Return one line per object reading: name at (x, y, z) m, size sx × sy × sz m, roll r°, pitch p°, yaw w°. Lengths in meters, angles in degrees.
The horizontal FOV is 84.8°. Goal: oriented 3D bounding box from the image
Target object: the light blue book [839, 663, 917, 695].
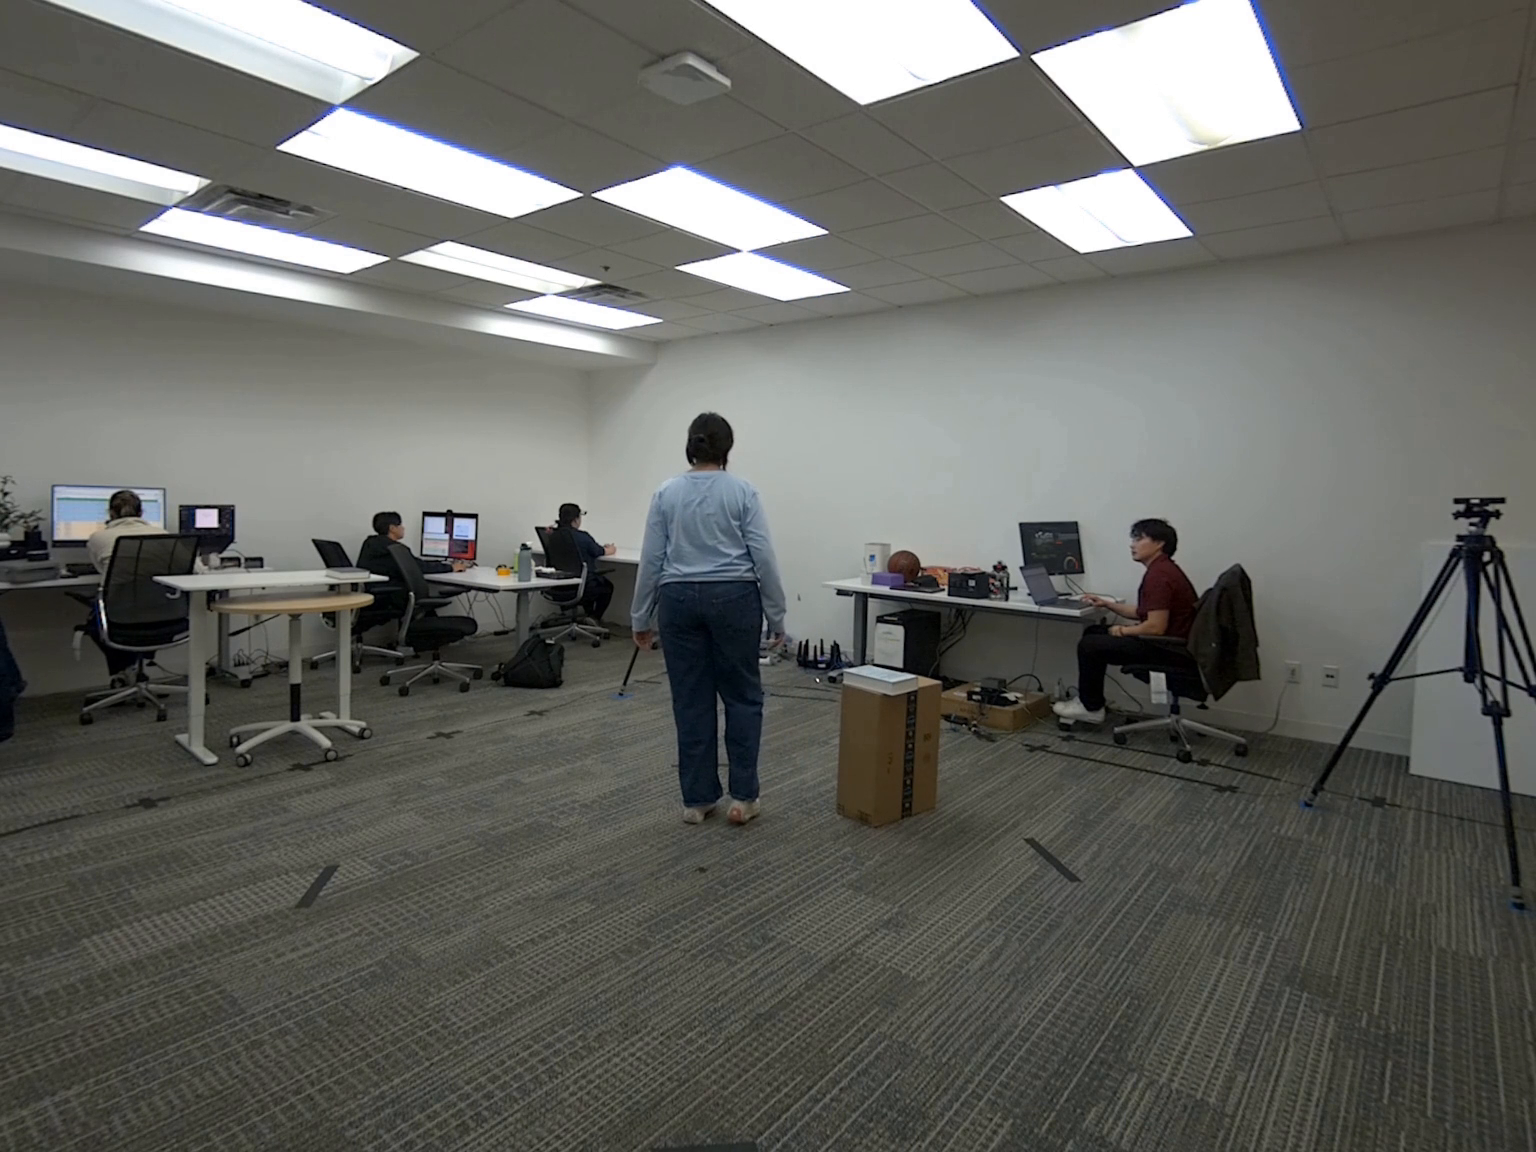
light blue book at (0.471, 0.439, 3.622) m, size 0.186 × 0.059 × 0.270 m, roll -5°, pitch 9°, yaw -44°
